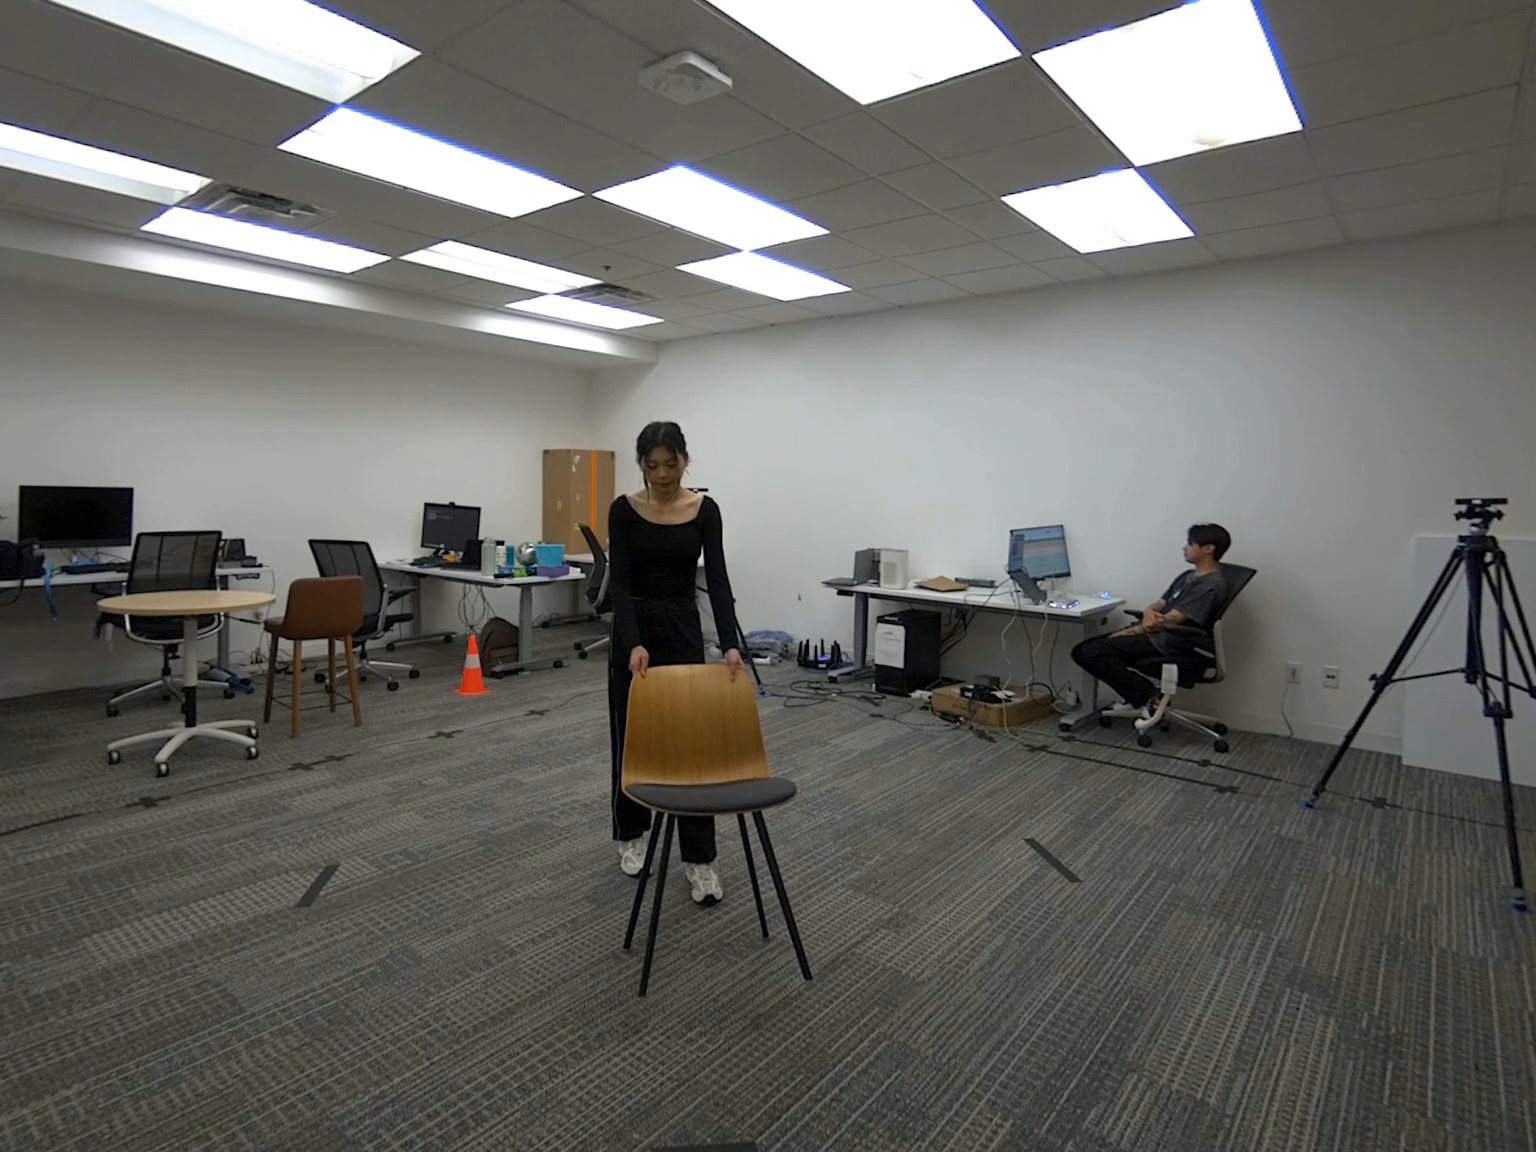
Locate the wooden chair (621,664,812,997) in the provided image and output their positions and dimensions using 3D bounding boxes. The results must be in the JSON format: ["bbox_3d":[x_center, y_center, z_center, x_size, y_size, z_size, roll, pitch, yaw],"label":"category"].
[{"bbox_3d":[-0.183,0.660,2.462,0.472,0.891,0.522,0,-15,-14],"label":"wooden chair"}]
